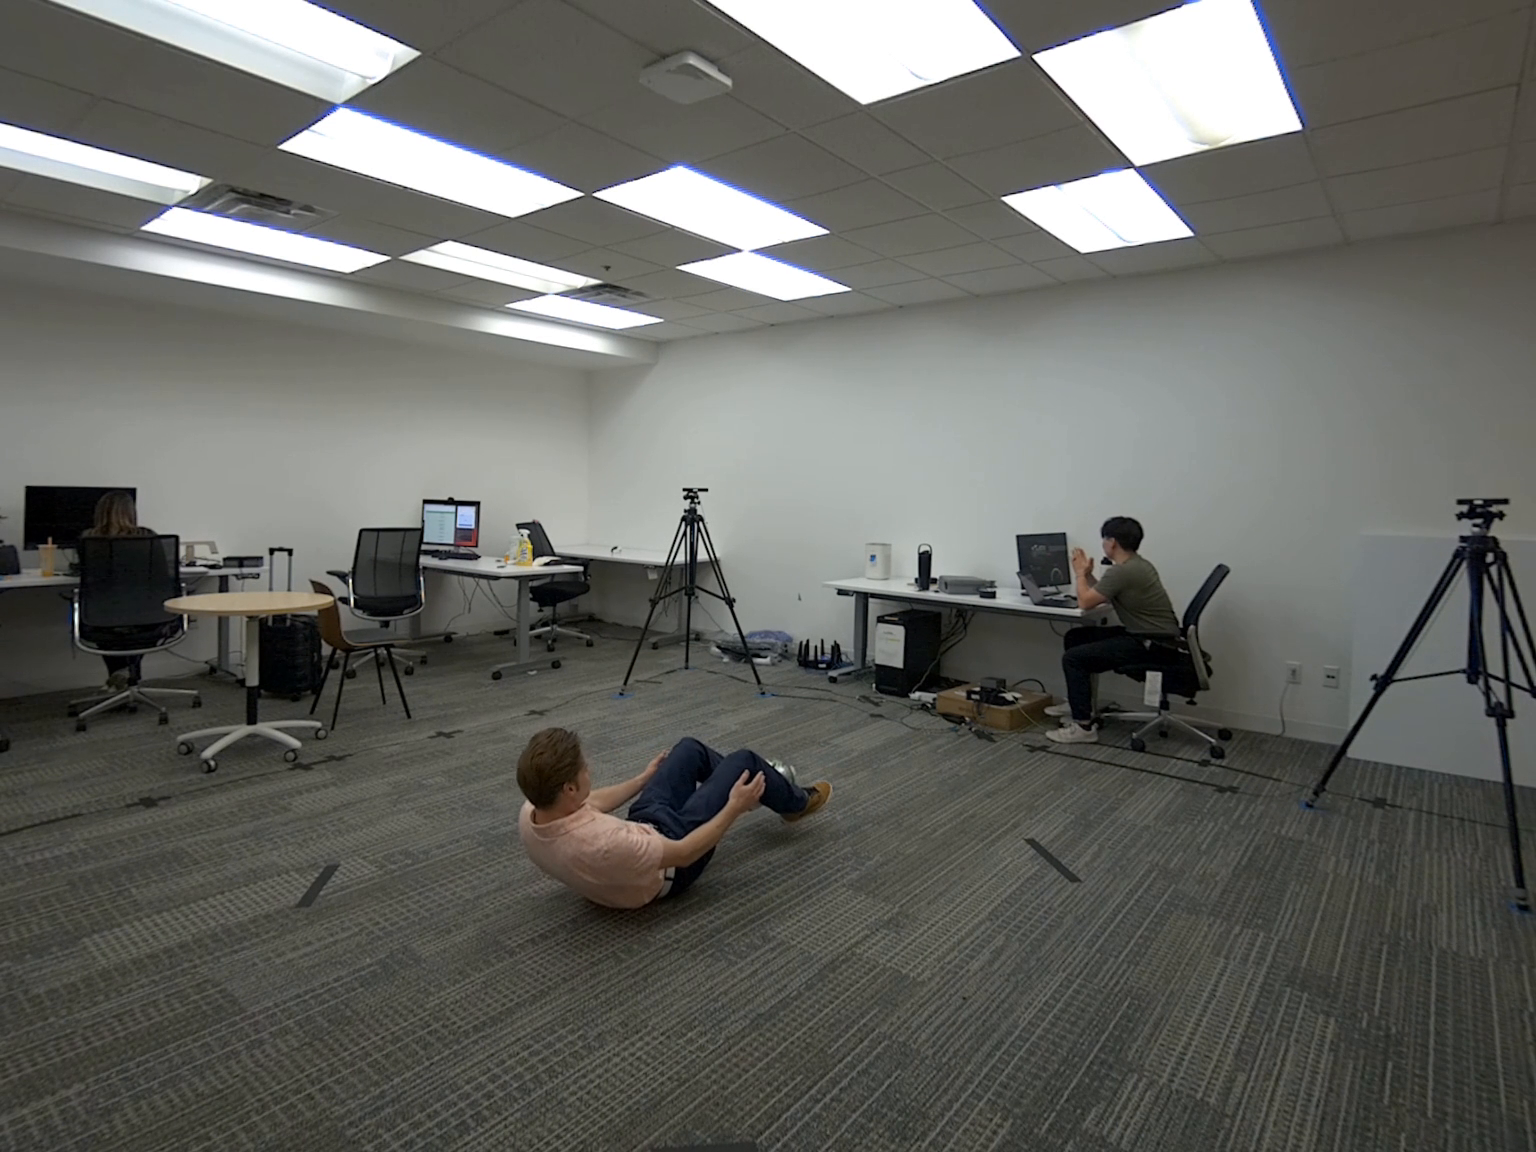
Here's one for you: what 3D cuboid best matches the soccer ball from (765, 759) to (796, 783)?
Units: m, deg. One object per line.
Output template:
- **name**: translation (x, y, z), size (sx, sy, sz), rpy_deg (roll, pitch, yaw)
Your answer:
- **soccer ball**: translation (0.011, 0.832, 3.428), size (0.187, 0.187, 0.188), rpy_deg (1, 4, -2)
